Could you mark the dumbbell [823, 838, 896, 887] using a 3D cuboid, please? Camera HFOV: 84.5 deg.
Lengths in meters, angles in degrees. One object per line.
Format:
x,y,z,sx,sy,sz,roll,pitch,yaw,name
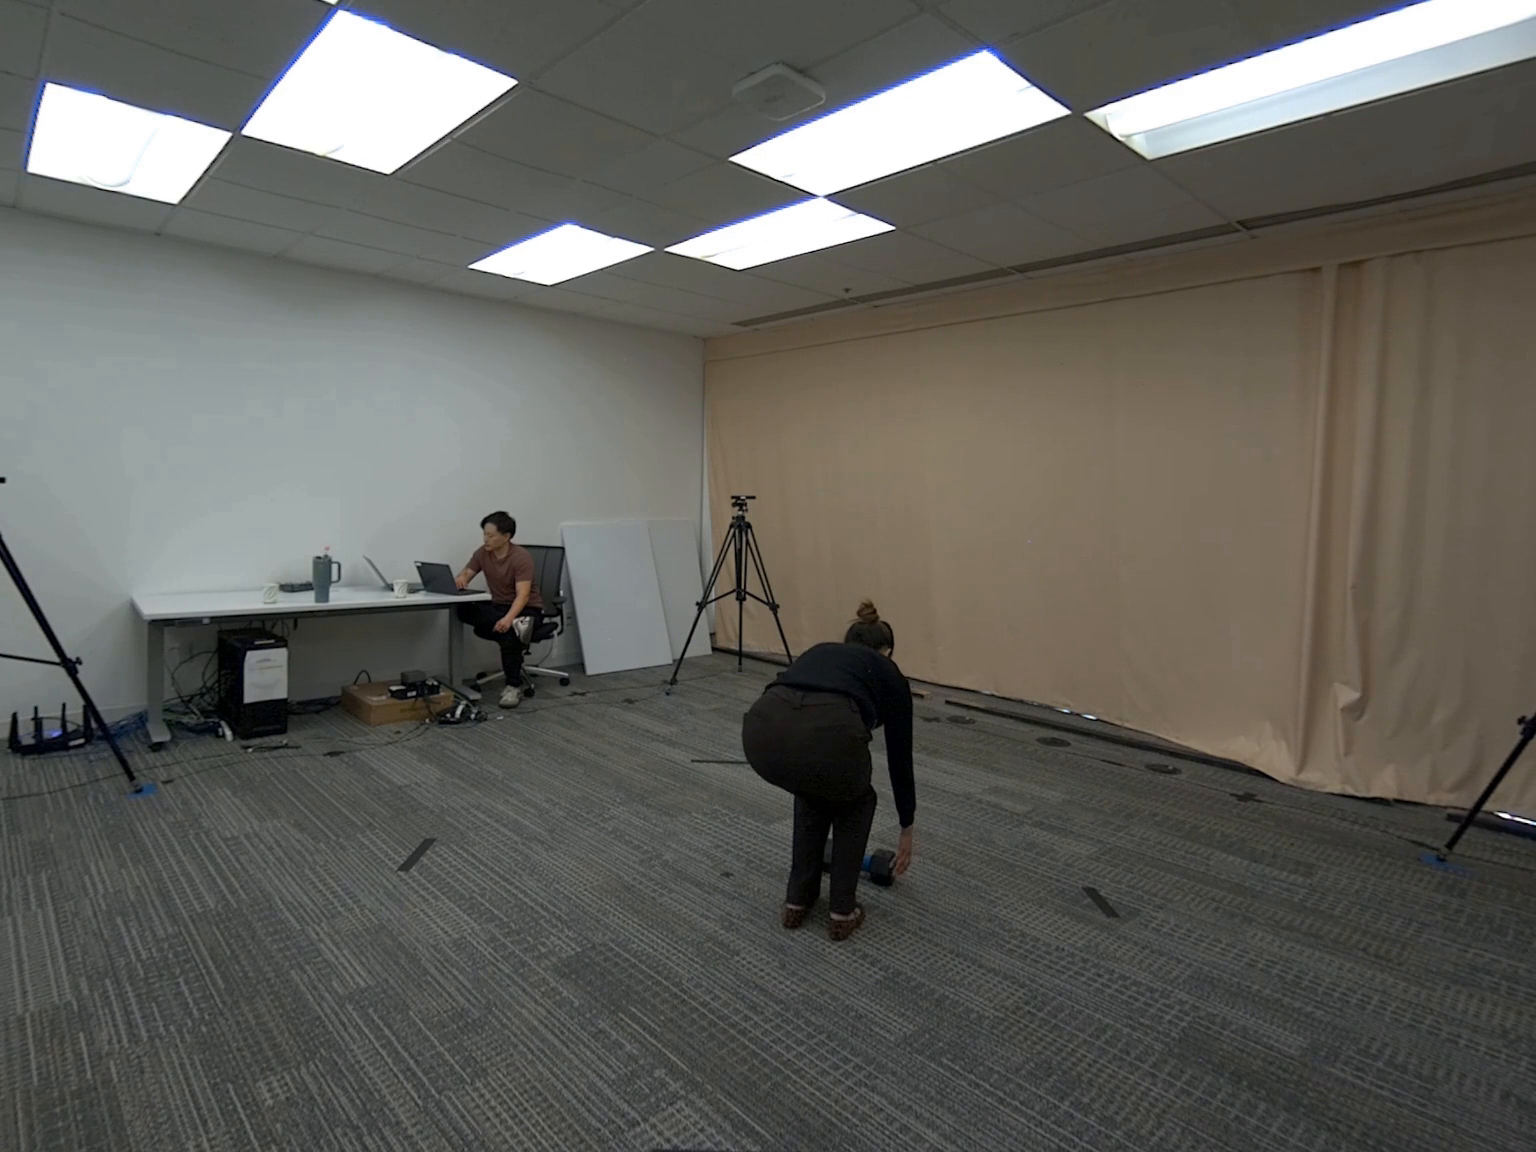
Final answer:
0.322,1.060,3.117,0.299,0.108,0.121,4,6,25,dumbbell
